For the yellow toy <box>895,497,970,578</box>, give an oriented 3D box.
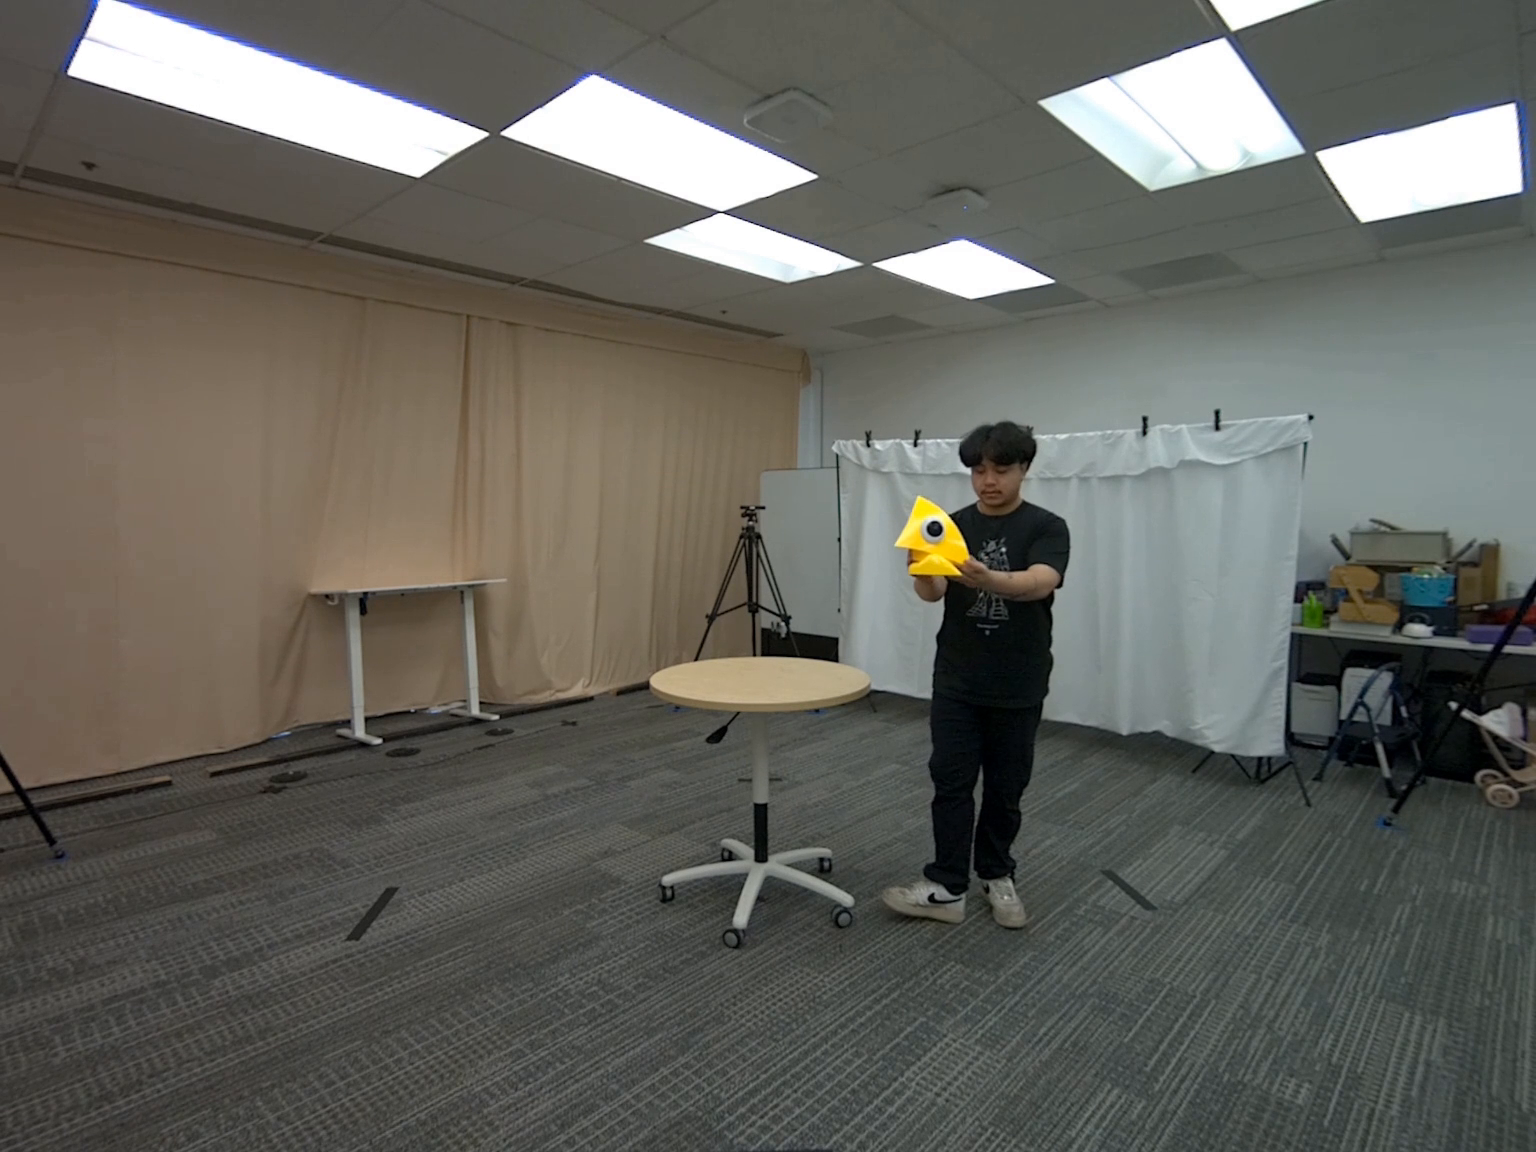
[{"bbox_3d":[0.501,-0.118,2.415,0.198,0.231,0.199,-1,-2,31],"label":"yellow toy"}]
